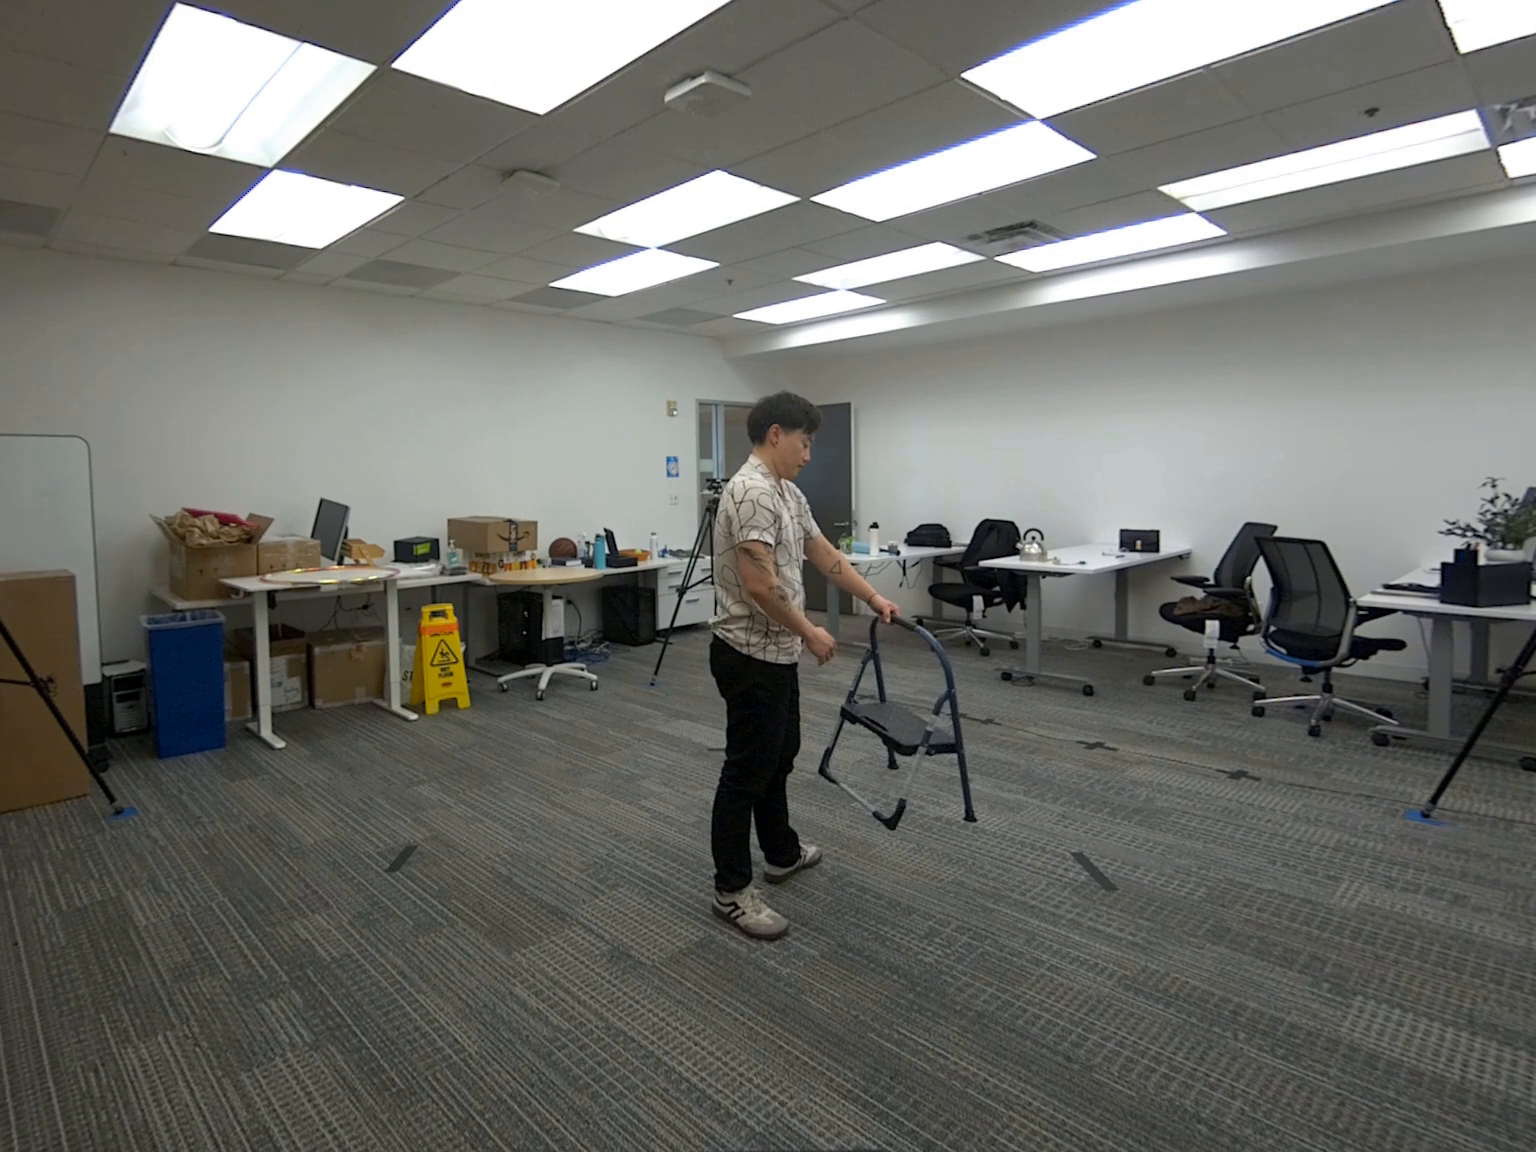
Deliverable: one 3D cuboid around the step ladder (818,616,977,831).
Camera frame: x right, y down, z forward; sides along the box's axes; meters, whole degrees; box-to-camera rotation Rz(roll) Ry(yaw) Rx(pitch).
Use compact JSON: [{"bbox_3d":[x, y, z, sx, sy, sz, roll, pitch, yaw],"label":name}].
[{"bbox_3d":[0.448,0.437,2.794,0.340,0.602,0.445,2,10,-31],"label":"step ladder"}]
